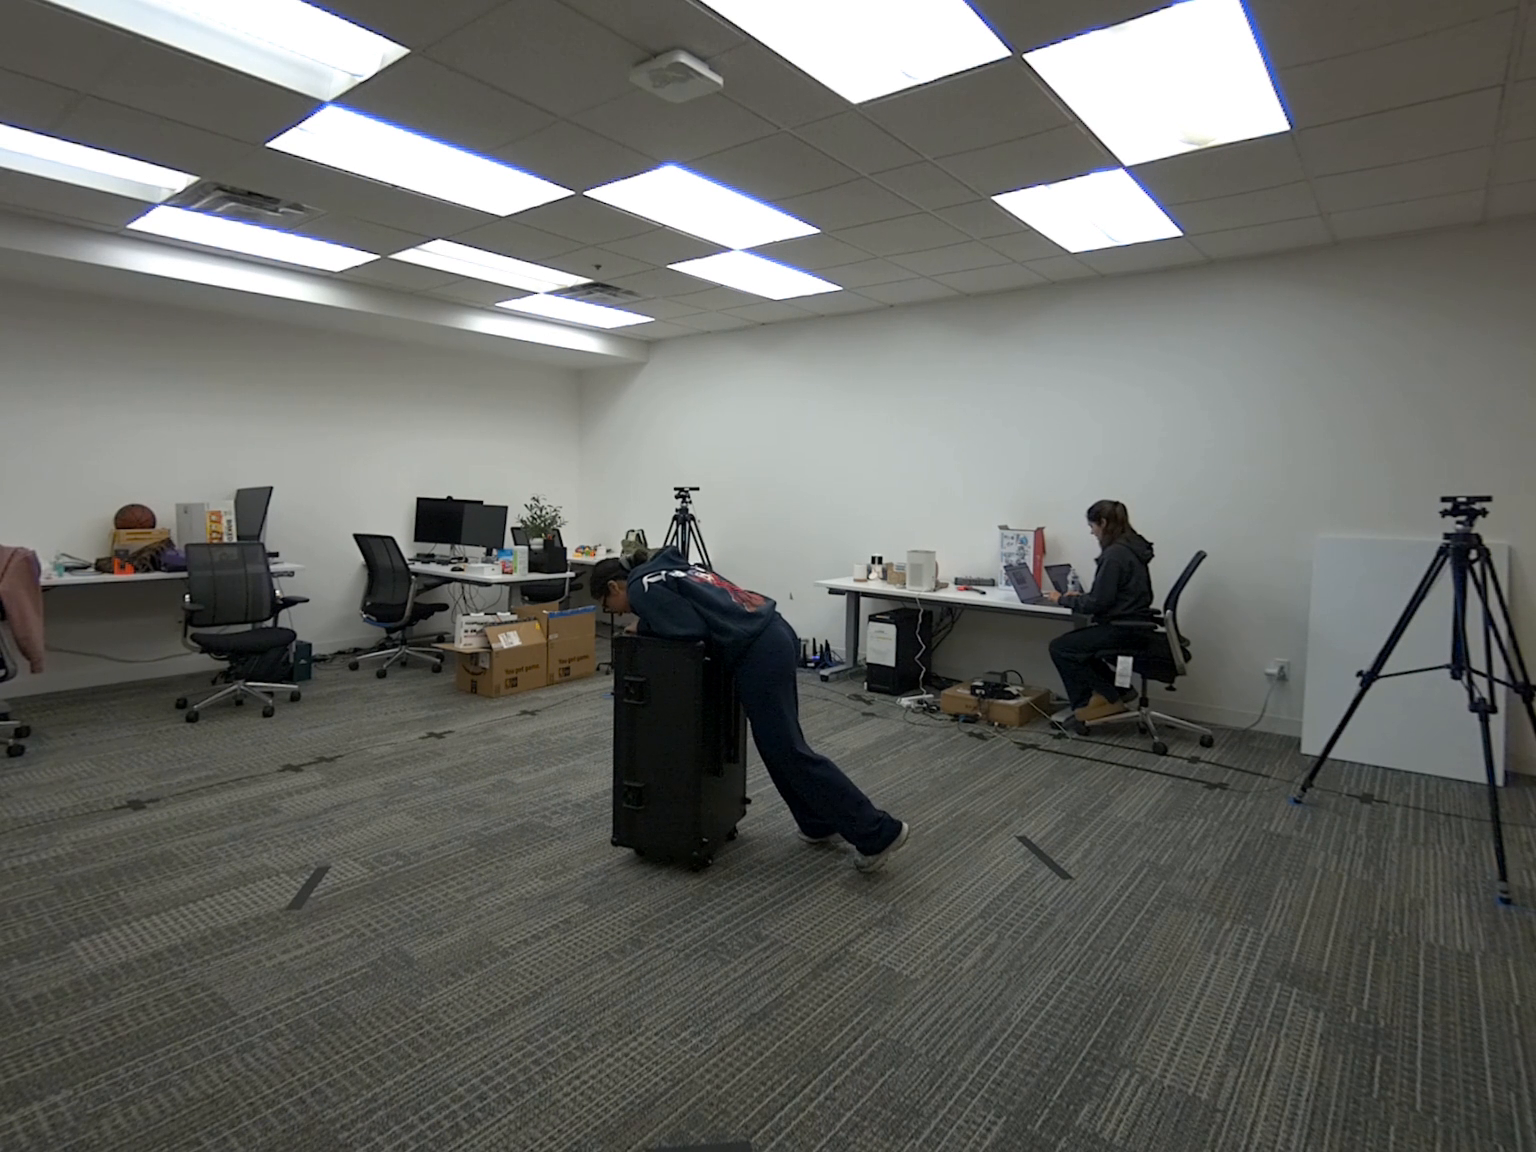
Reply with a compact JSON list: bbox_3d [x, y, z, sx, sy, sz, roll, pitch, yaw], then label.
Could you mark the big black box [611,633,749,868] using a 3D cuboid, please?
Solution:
[{"bbox_3d":[-0.328,0.630,3.273,0.405,0.859,0.511,3,4,20],"label":"big black box"}]
